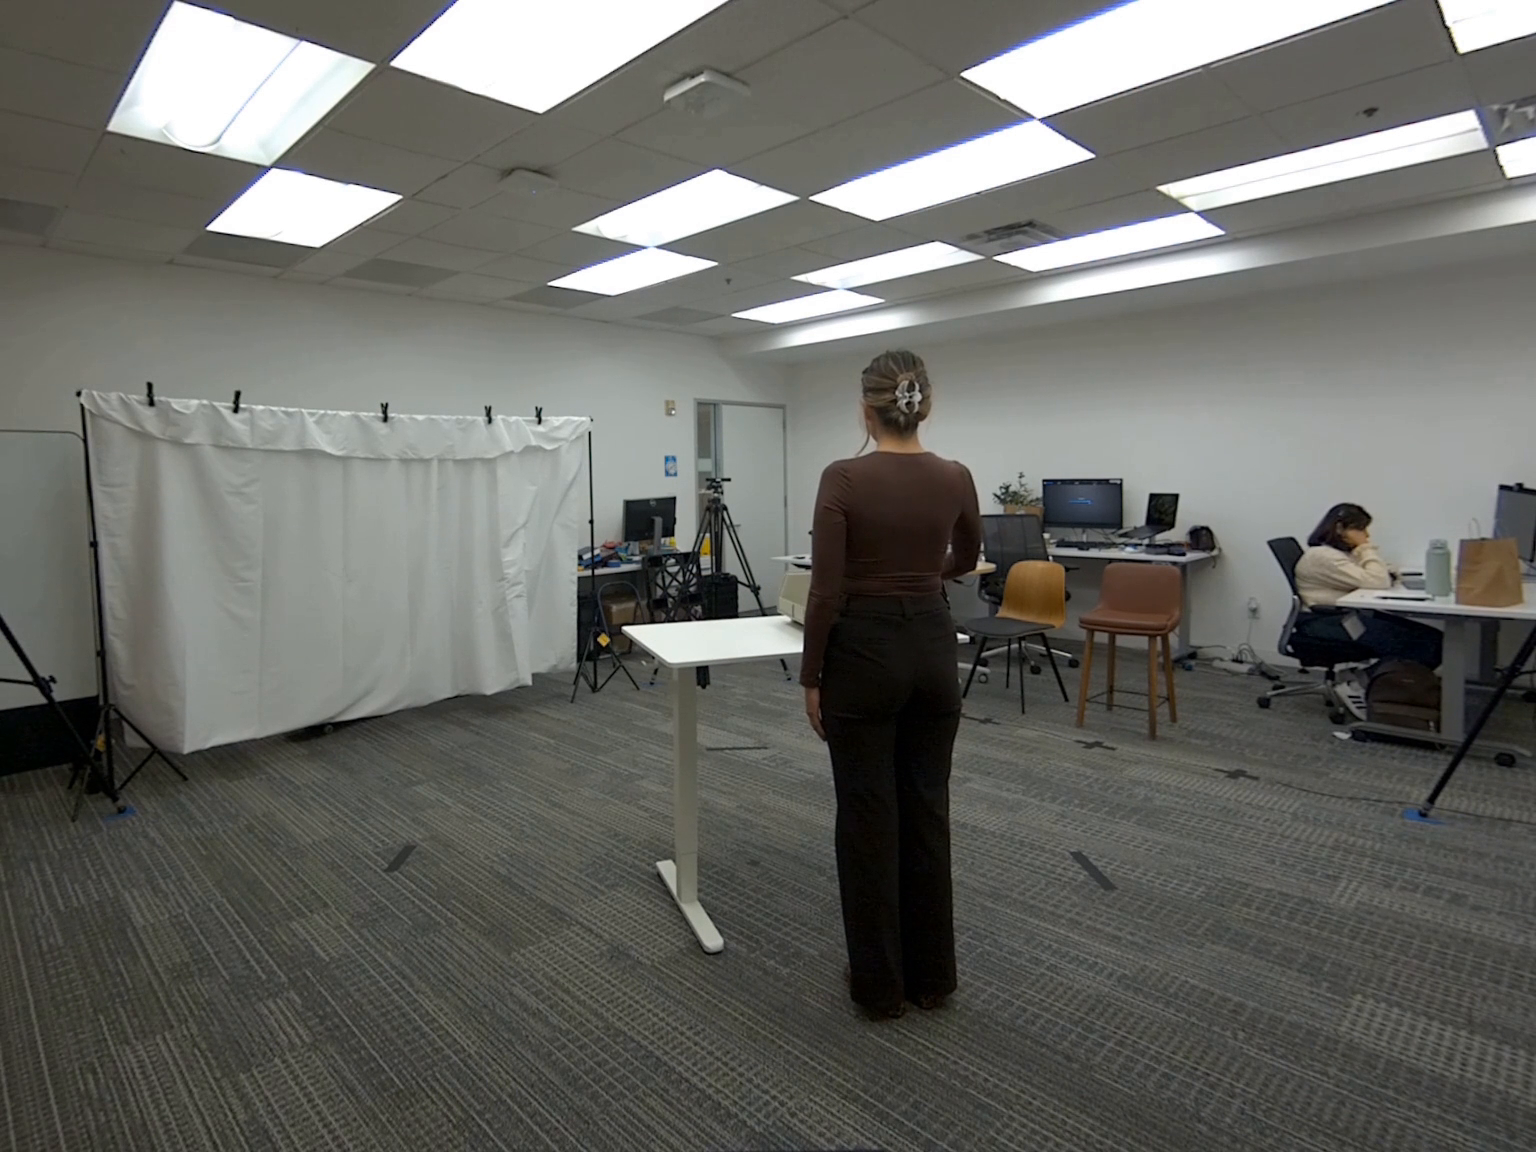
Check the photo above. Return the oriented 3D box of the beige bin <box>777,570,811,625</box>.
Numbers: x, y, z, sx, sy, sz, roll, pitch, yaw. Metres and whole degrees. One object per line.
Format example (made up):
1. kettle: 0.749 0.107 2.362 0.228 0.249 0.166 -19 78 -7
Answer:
1. beige bin: 0.278 0.091 2.882 0.371 0.188 0.431 -1 6 -17
